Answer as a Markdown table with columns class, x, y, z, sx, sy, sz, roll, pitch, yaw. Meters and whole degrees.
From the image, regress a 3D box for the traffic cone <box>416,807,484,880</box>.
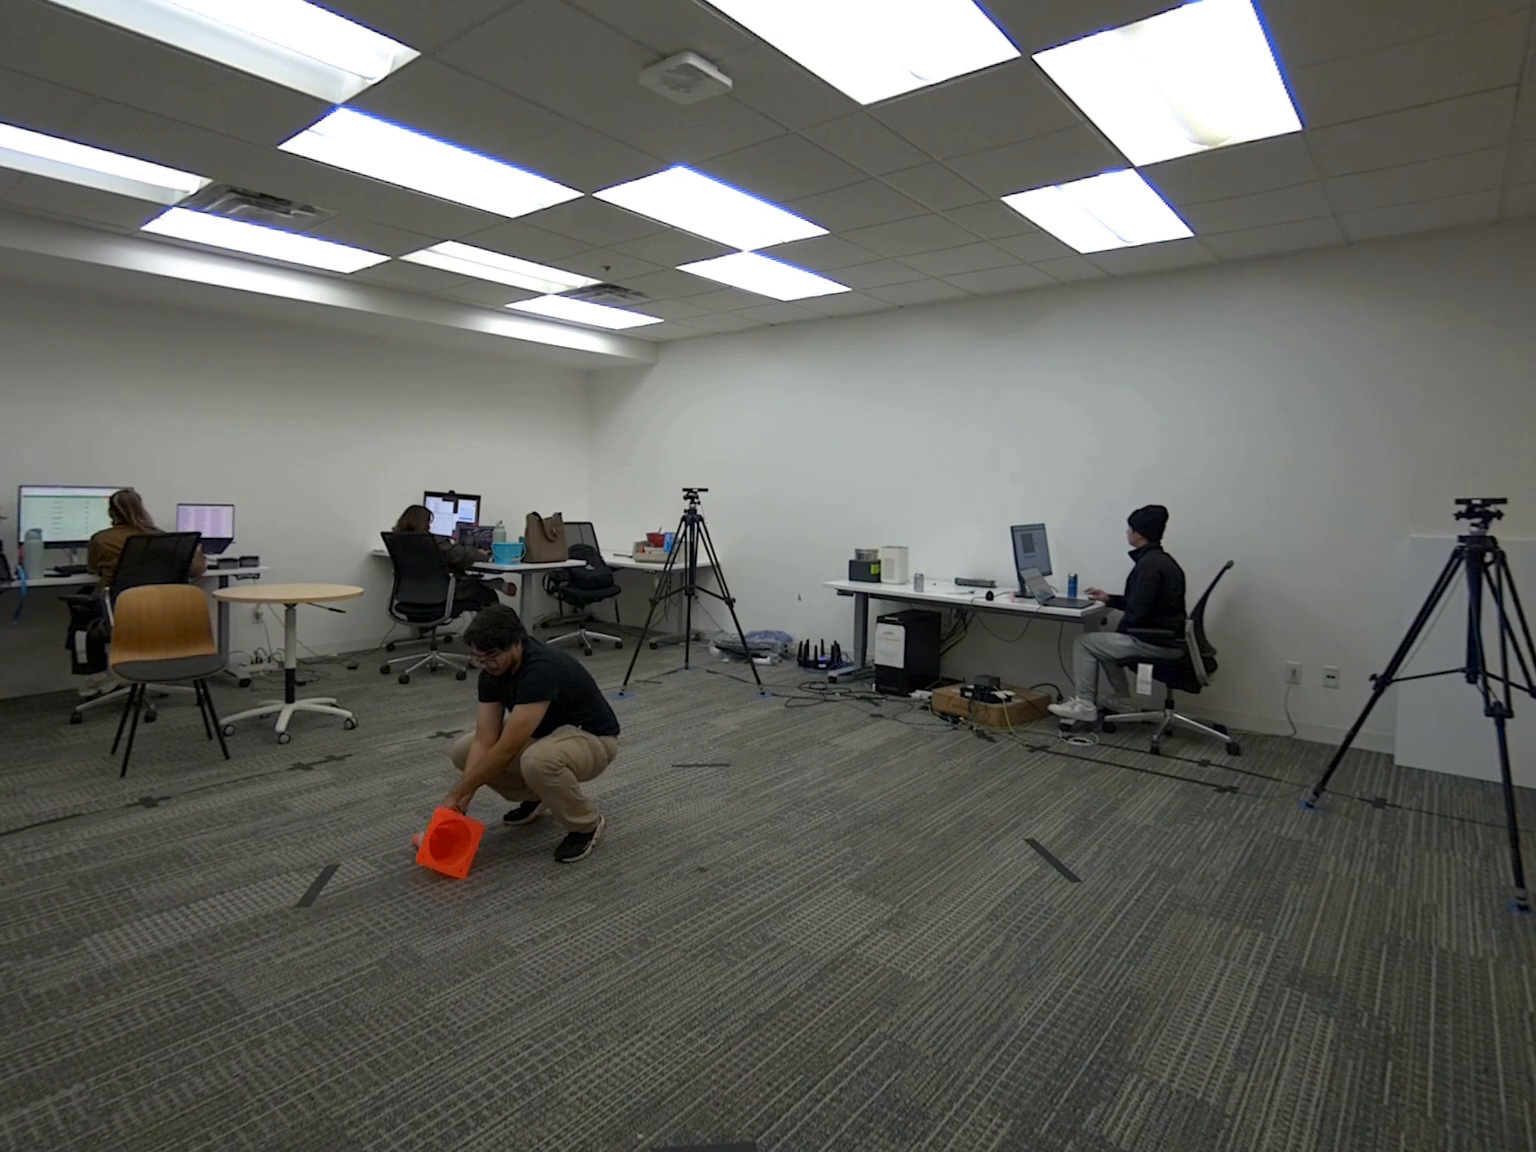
| class | x | y | z | sx | sy | sz | roll | pitch | yaw |
| --- | --- | --- | --- | --- | --- | --- | --- | --- | --- |
| traffic cone | -1.255 | 0.989 | 3.156 | 0.198 | 0.206 | 0.391 | 37 | -34 | -27 |
